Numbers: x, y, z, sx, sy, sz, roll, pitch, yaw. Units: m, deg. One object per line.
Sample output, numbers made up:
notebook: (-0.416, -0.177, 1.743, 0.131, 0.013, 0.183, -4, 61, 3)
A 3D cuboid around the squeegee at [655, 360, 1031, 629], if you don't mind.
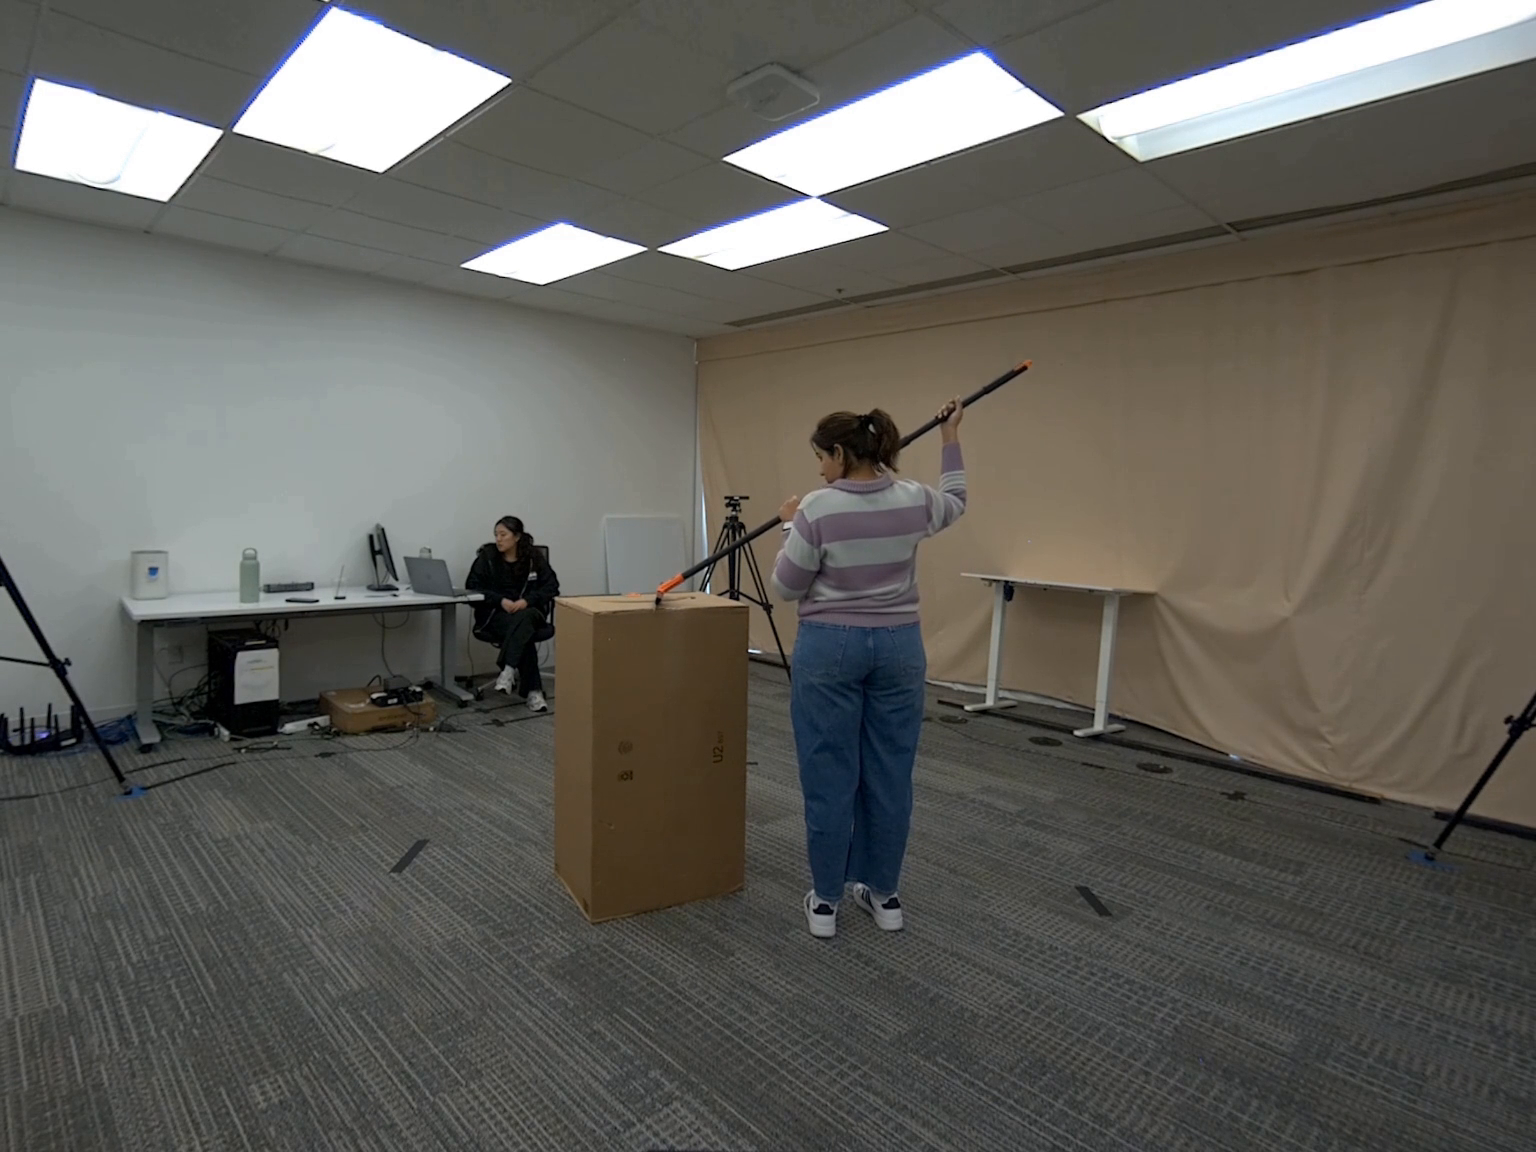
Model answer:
squeegee: (0.247, -0.334, 2.923, 1.538, 0.052, 0.441, -33, 11, 1)
